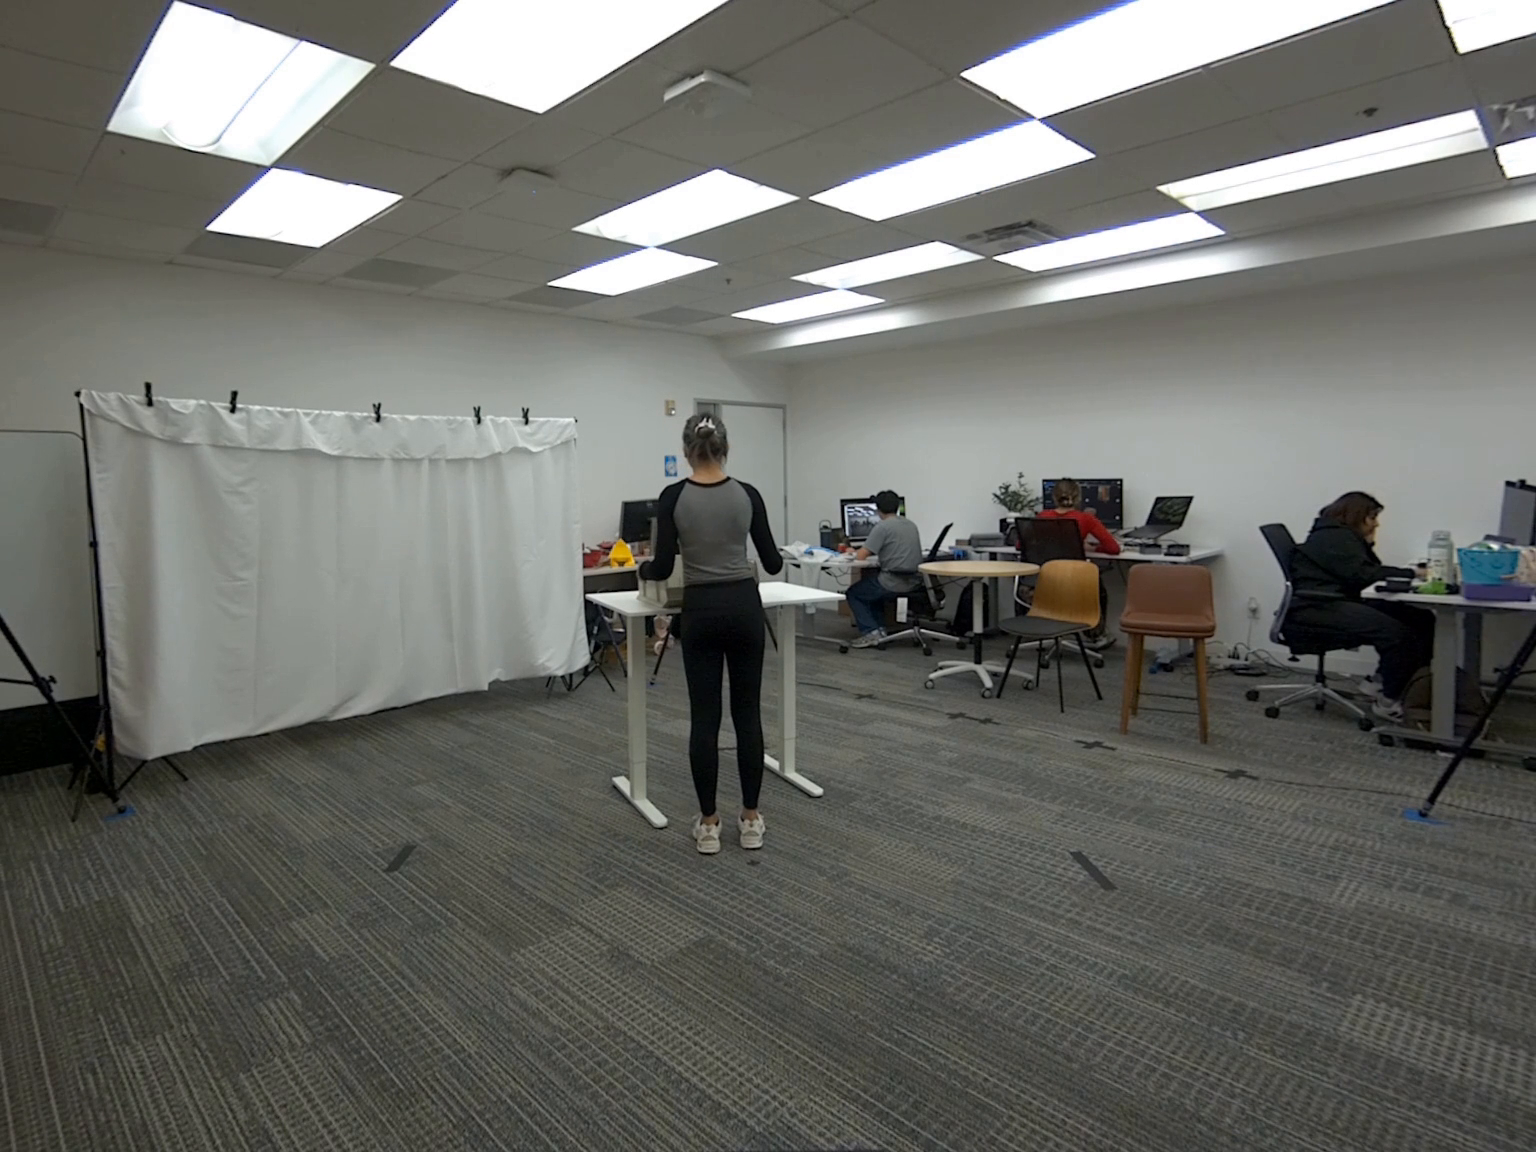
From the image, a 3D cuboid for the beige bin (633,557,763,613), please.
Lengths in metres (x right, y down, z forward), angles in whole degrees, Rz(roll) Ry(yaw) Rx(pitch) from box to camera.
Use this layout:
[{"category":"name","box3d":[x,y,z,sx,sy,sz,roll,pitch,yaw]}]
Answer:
[{"category":"beige bin","box3d":[-0.301,0.021,3.602,0.413,0.188,0.386,-4,5,-26]}]
